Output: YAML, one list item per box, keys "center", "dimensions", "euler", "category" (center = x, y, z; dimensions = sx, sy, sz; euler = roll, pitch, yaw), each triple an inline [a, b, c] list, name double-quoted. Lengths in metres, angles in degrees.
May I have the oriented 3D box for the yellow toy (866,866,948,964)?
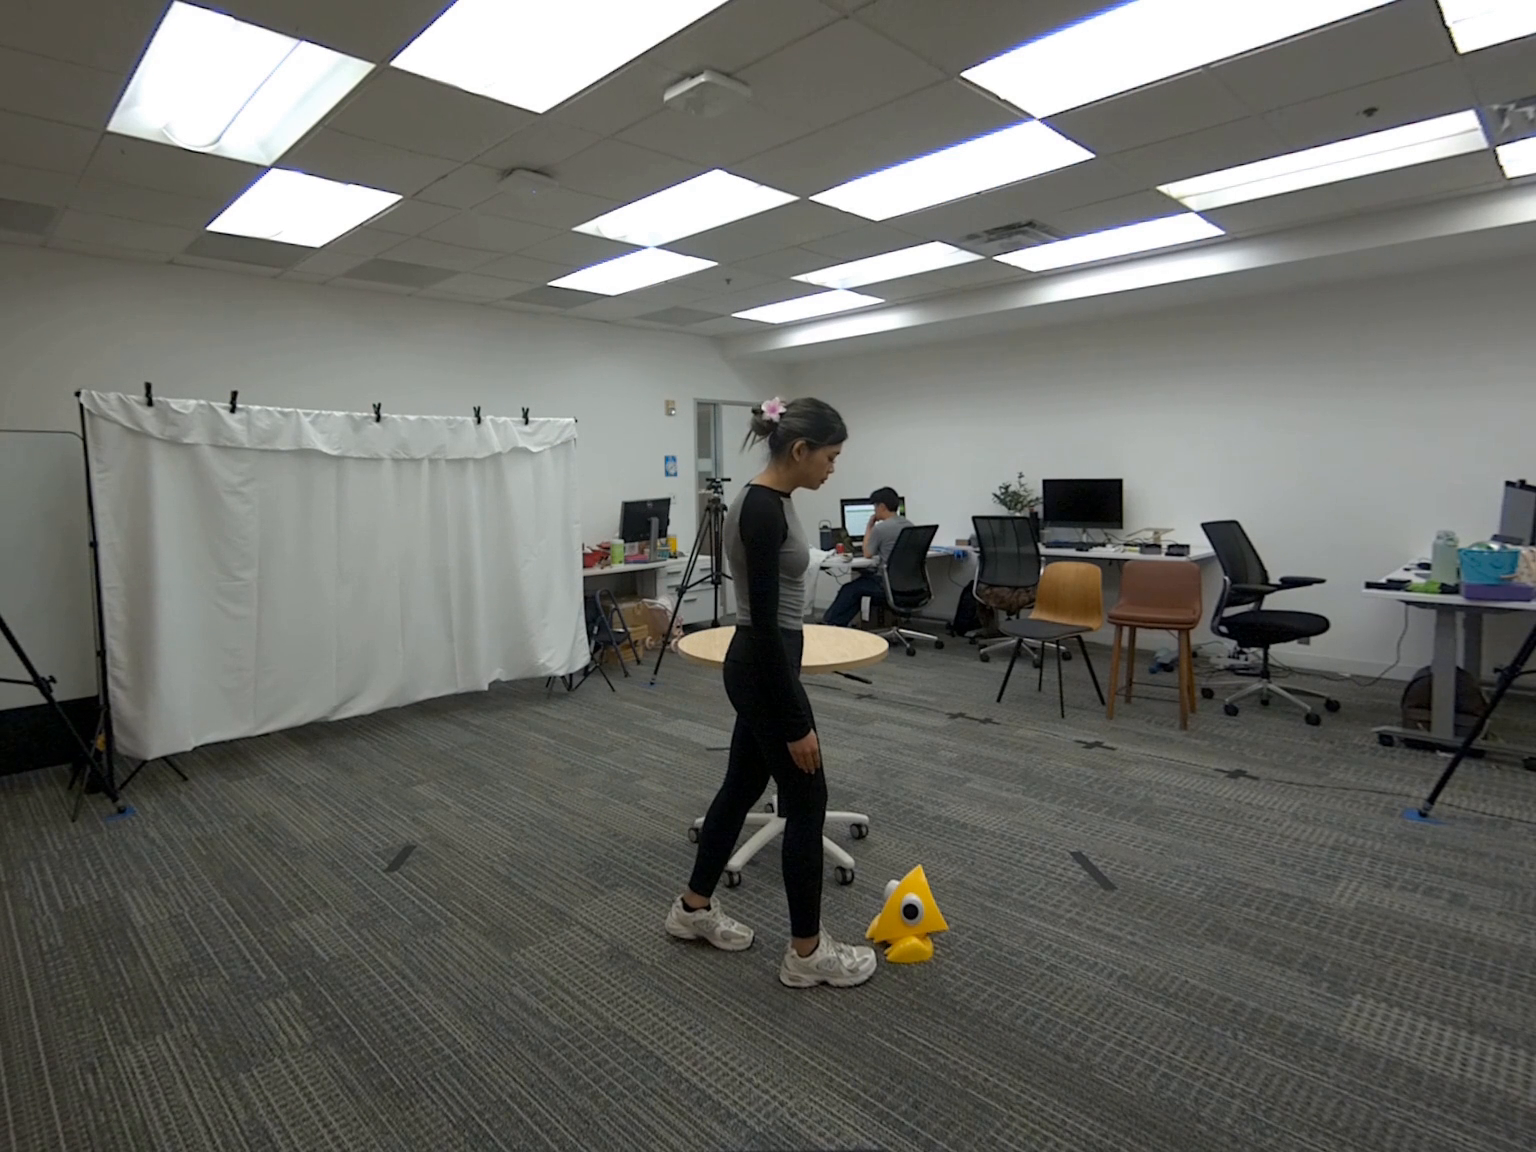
- center: [0.407, 0.988, 2.544]
  dimensions: [0.189, 0.229, 0.209]
  euler: [-3, 7, -21]
  category: "yellow toy"
